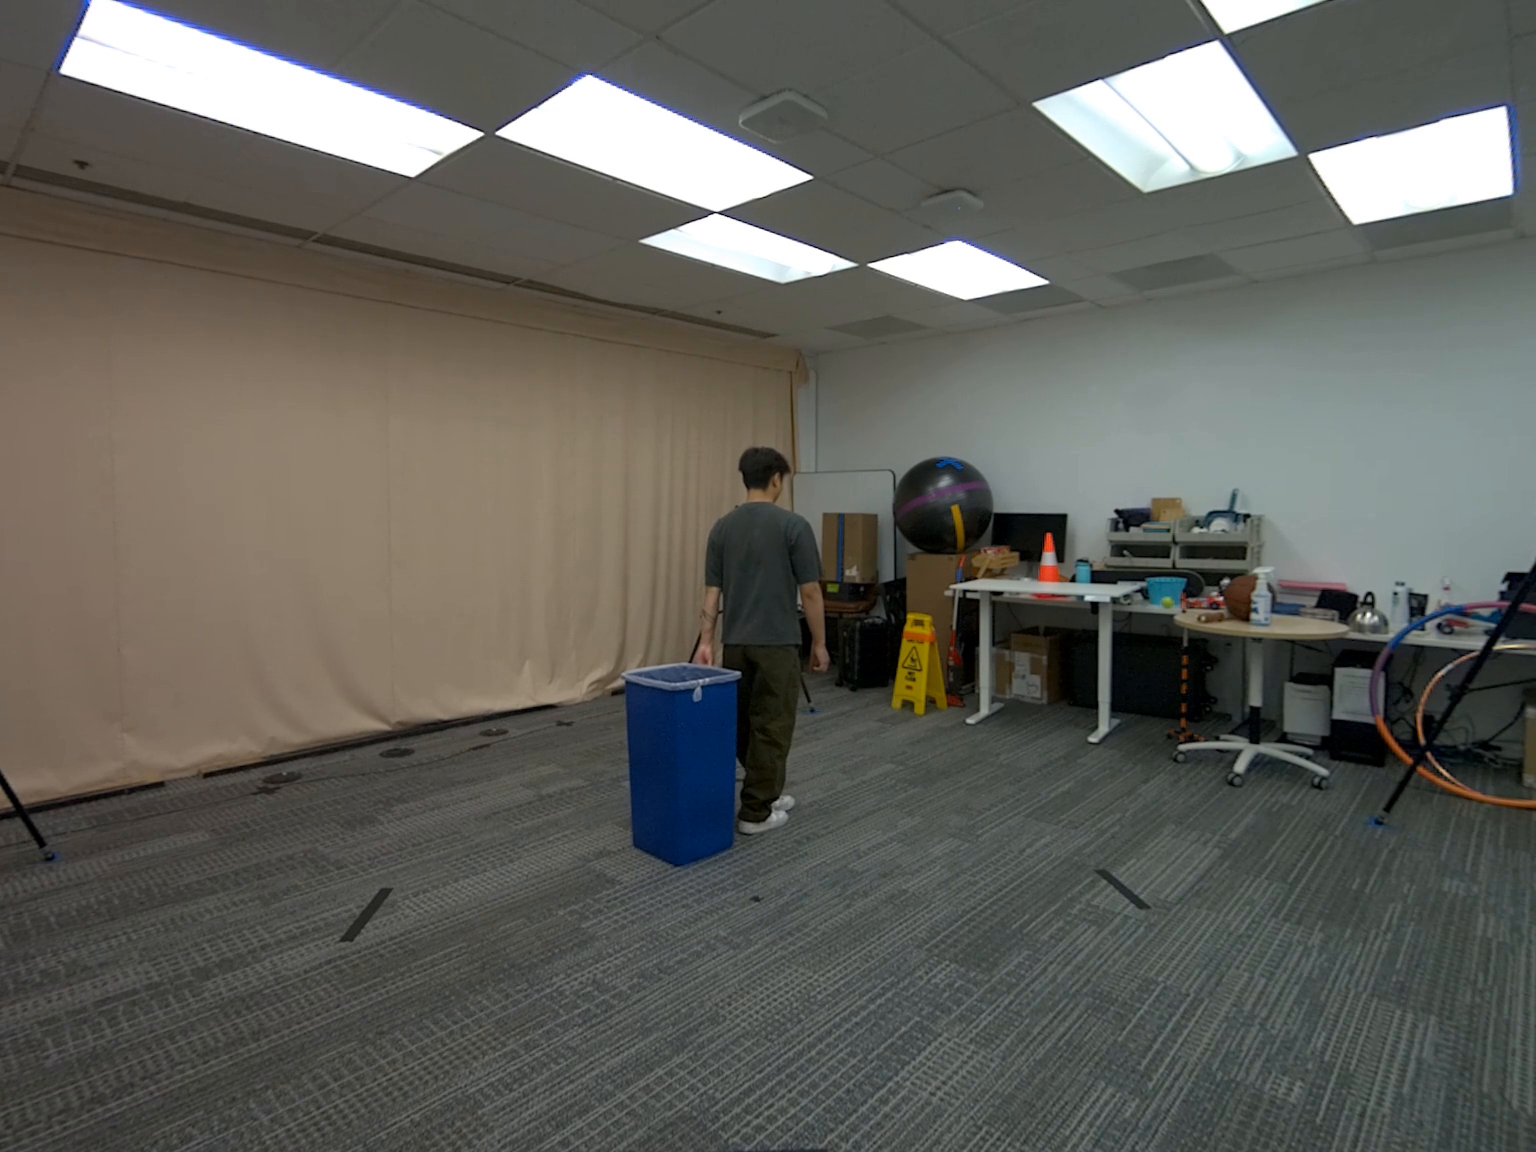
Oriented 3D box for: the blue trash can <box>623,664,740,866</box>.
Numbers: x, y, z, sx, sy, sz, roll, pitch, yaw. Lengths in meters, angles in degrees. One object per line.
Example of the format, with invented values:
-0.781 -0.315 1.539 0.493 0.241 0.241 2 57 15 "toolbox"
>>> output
-0.360 0.748 3.438 0.386 0.712 0.366 2 4 44 "blue trash can"
